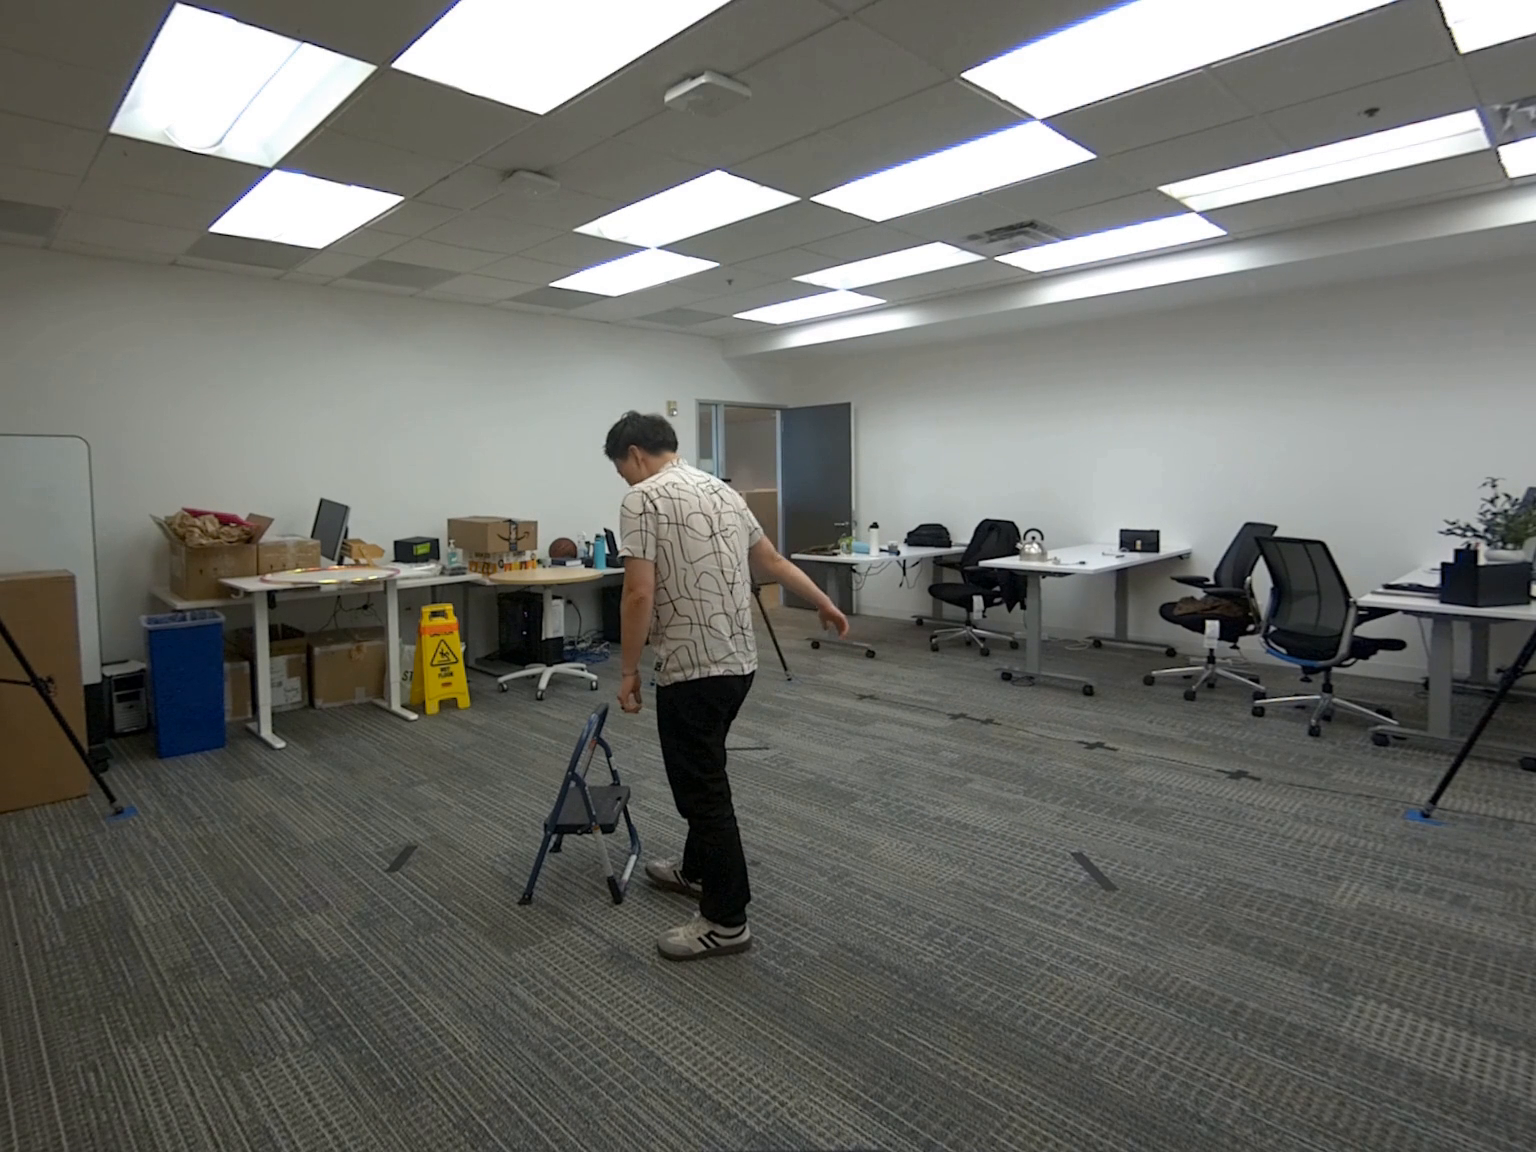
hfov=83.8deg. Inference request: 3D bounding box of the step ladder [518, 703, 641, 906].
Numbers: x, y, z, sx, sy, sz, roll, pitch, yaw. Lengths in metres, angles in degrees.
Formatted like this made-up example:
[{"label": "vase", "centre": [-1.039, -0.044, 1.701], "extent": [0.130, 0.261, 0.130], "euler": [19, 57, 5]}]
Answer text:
[{"label": "step ladder", "centre": [-0.657, 0.769, 3.016], "extent": [0.350, 0.604, 0.431], "euler": [-1, 4, 1]}]
